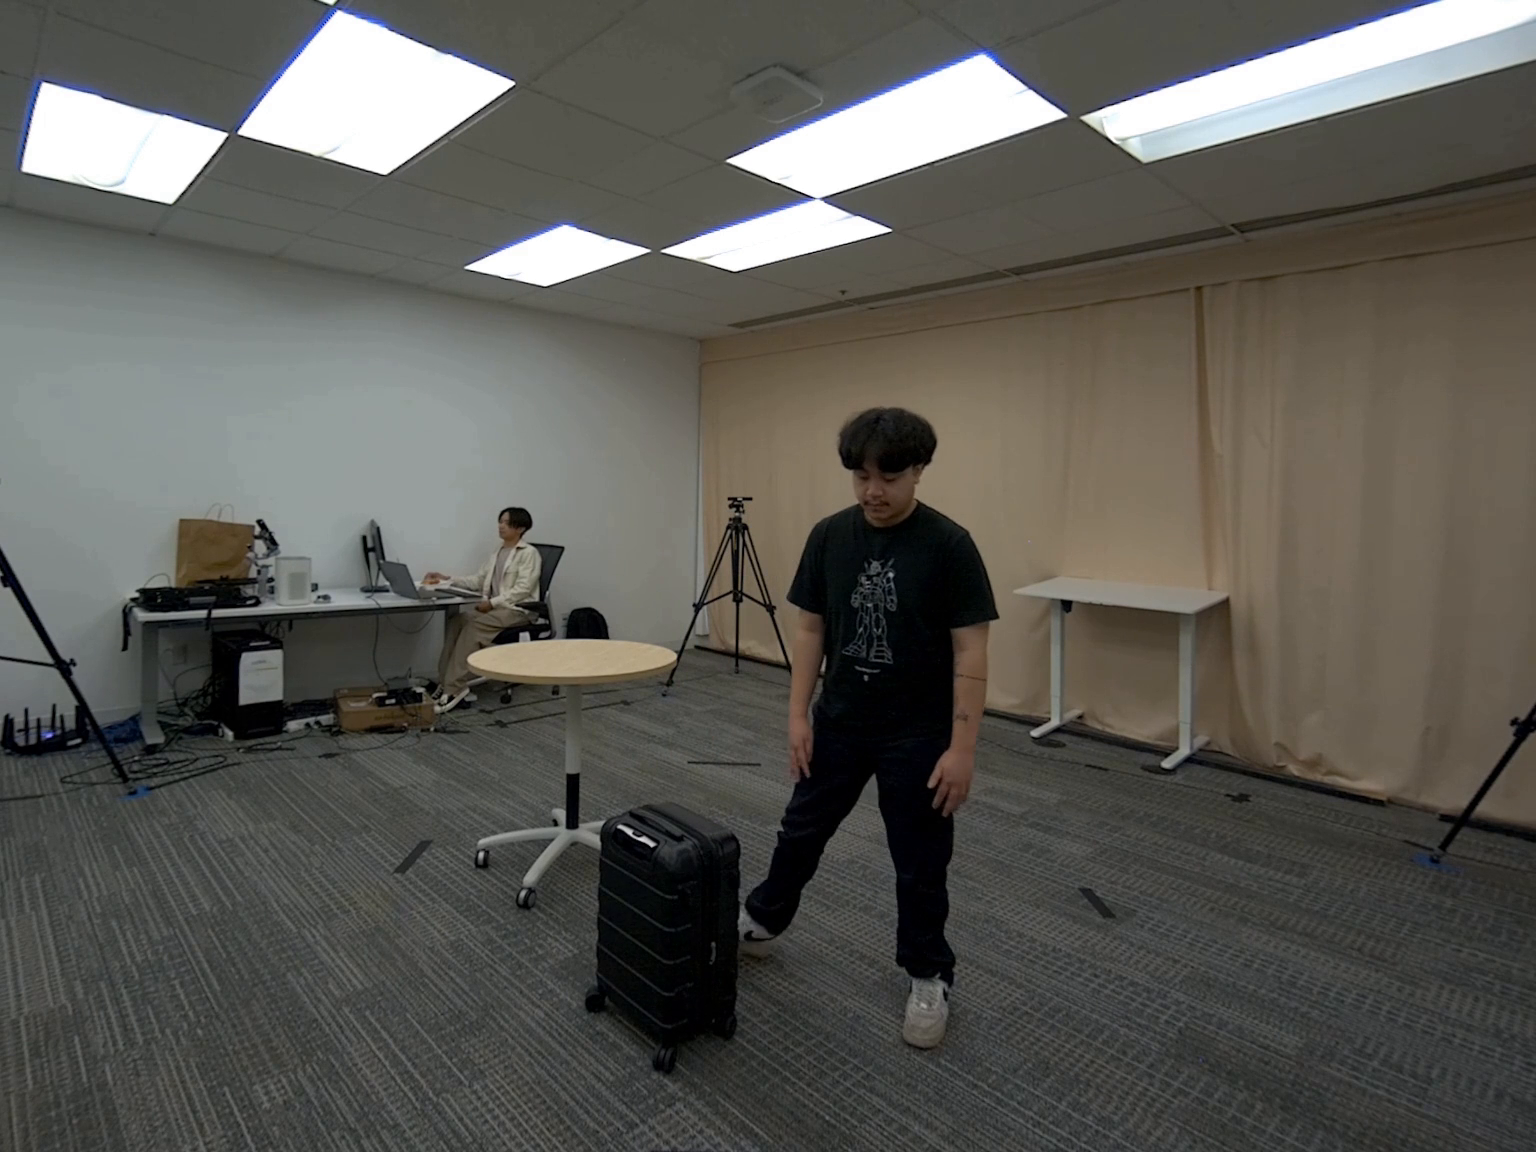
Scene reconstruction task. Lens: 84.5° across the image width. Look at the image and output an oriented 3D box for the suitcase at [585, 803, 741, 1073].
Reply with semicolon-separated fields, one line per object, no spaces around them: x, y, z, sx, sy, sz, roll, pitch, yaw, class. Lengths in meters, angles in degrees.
-0.267;0.911;2.225;0.242;0.548;0.385;0;4;-45;suitcase
